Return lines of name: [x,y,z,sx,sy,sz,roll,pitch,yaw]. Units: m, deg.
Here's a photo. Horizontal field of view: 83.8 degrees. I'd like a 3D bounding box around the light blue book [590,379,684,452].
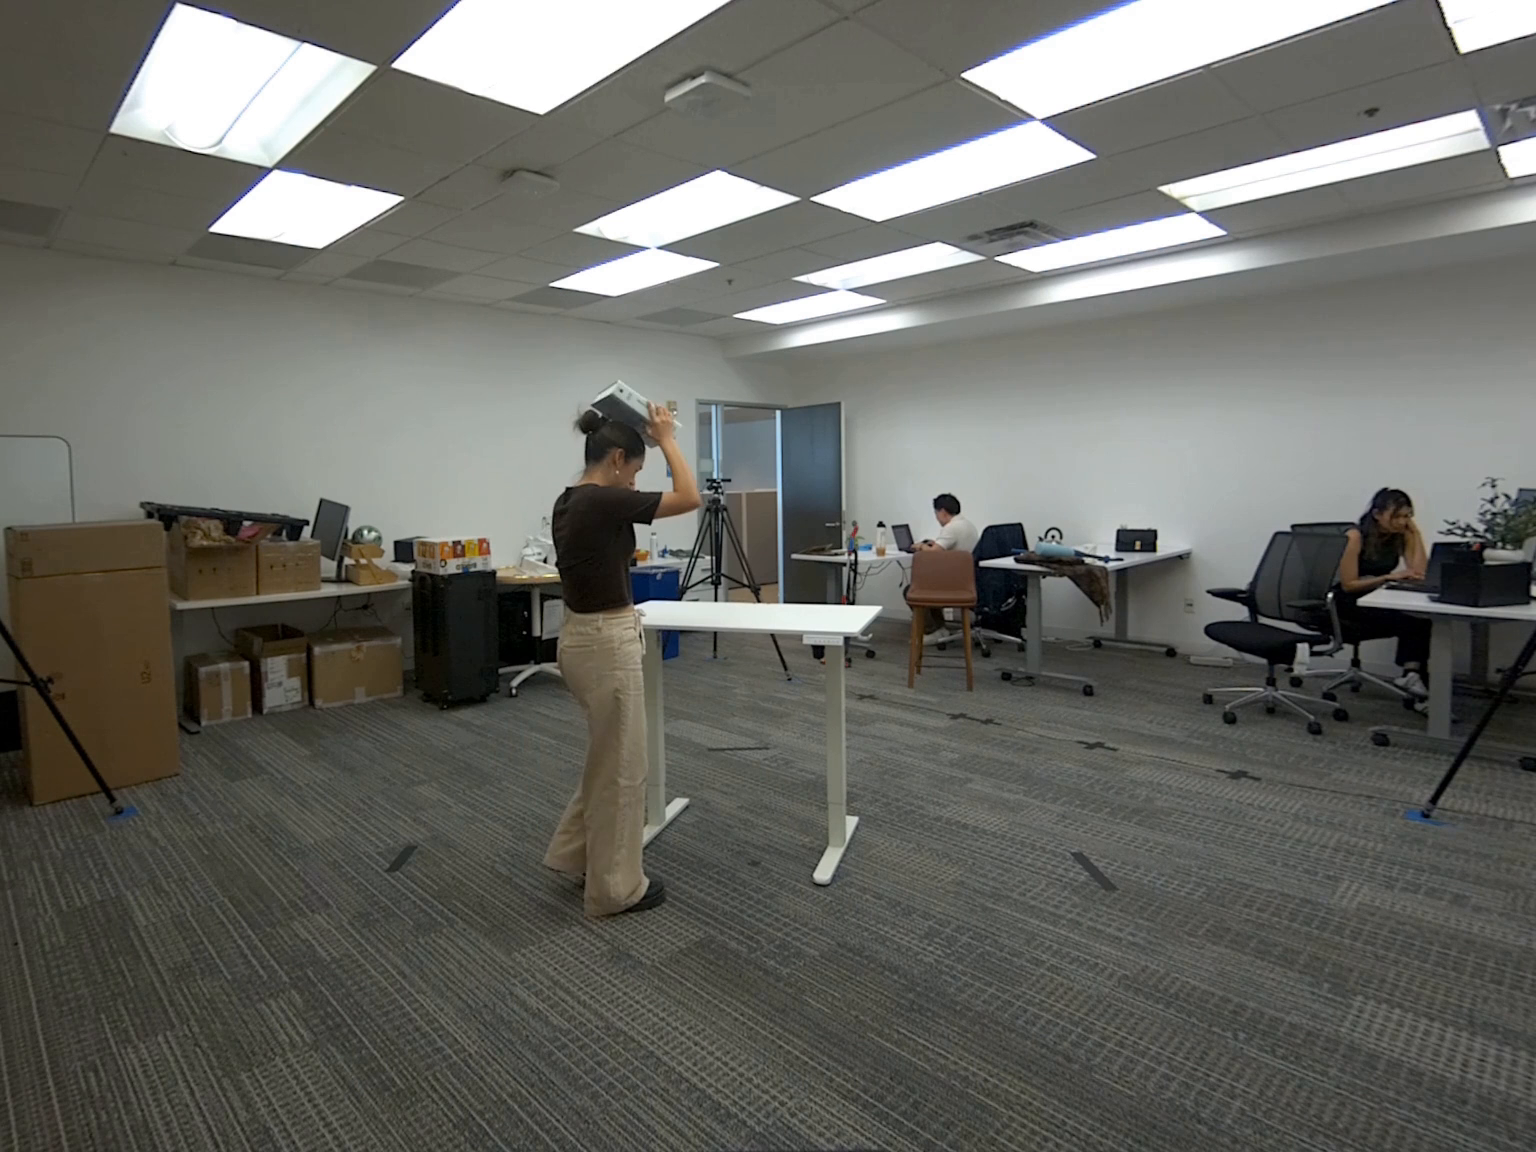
light blue book: [-0.441,-0.532,2.859,0.254,0.059,0.195,35,-19,-22]
